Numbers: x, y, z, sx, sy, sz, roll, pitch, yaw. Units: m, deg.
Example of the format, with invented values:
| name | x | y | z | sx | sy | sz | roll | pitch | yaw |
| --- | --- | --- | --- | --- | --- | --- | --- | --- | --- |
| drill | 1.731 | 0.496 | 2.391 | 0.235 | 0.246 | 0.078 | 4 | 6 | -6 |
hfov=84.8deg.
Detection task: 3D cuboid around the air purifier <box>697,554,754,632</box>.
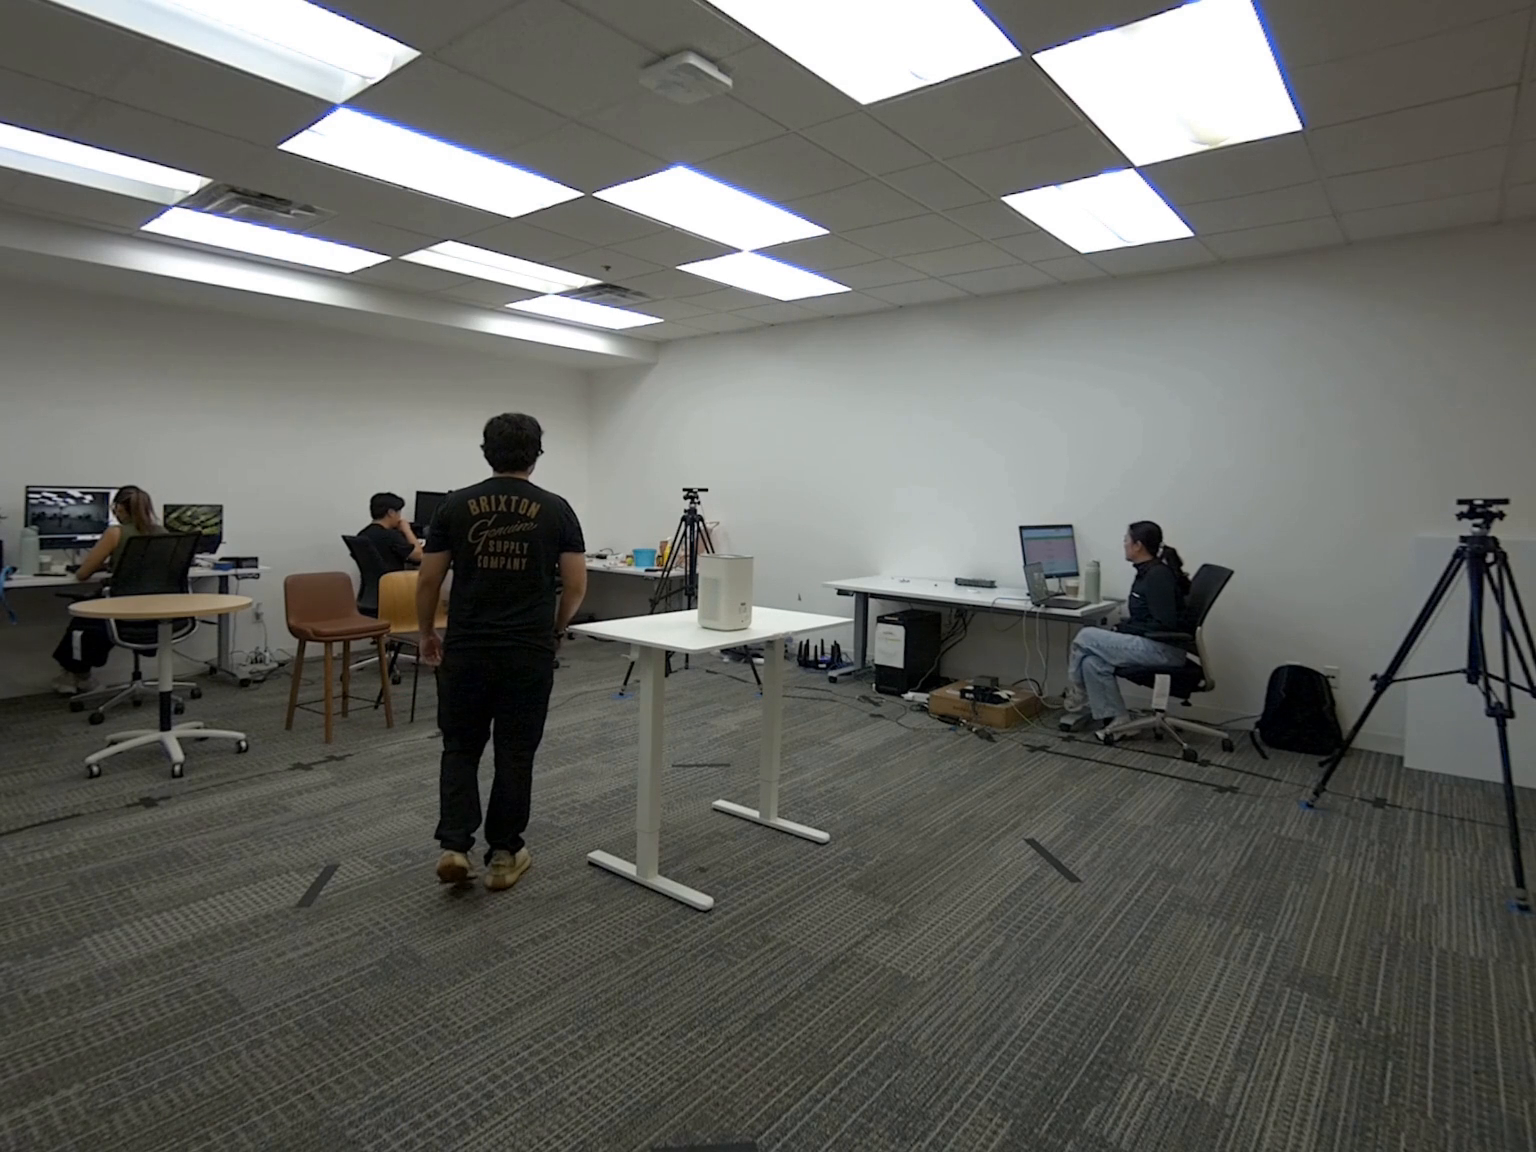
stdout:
| name | x | y | z | sx | sy | sz | roll | pitch | yaw |
| --- | --- | --- | --- | --- | --- | --- | --- | --- | --- |
| air purifier | -0.165 | 0.057 | 3.105 | 0.177 | 0.265 | 0.166 | 2 | 2 | 39 |
